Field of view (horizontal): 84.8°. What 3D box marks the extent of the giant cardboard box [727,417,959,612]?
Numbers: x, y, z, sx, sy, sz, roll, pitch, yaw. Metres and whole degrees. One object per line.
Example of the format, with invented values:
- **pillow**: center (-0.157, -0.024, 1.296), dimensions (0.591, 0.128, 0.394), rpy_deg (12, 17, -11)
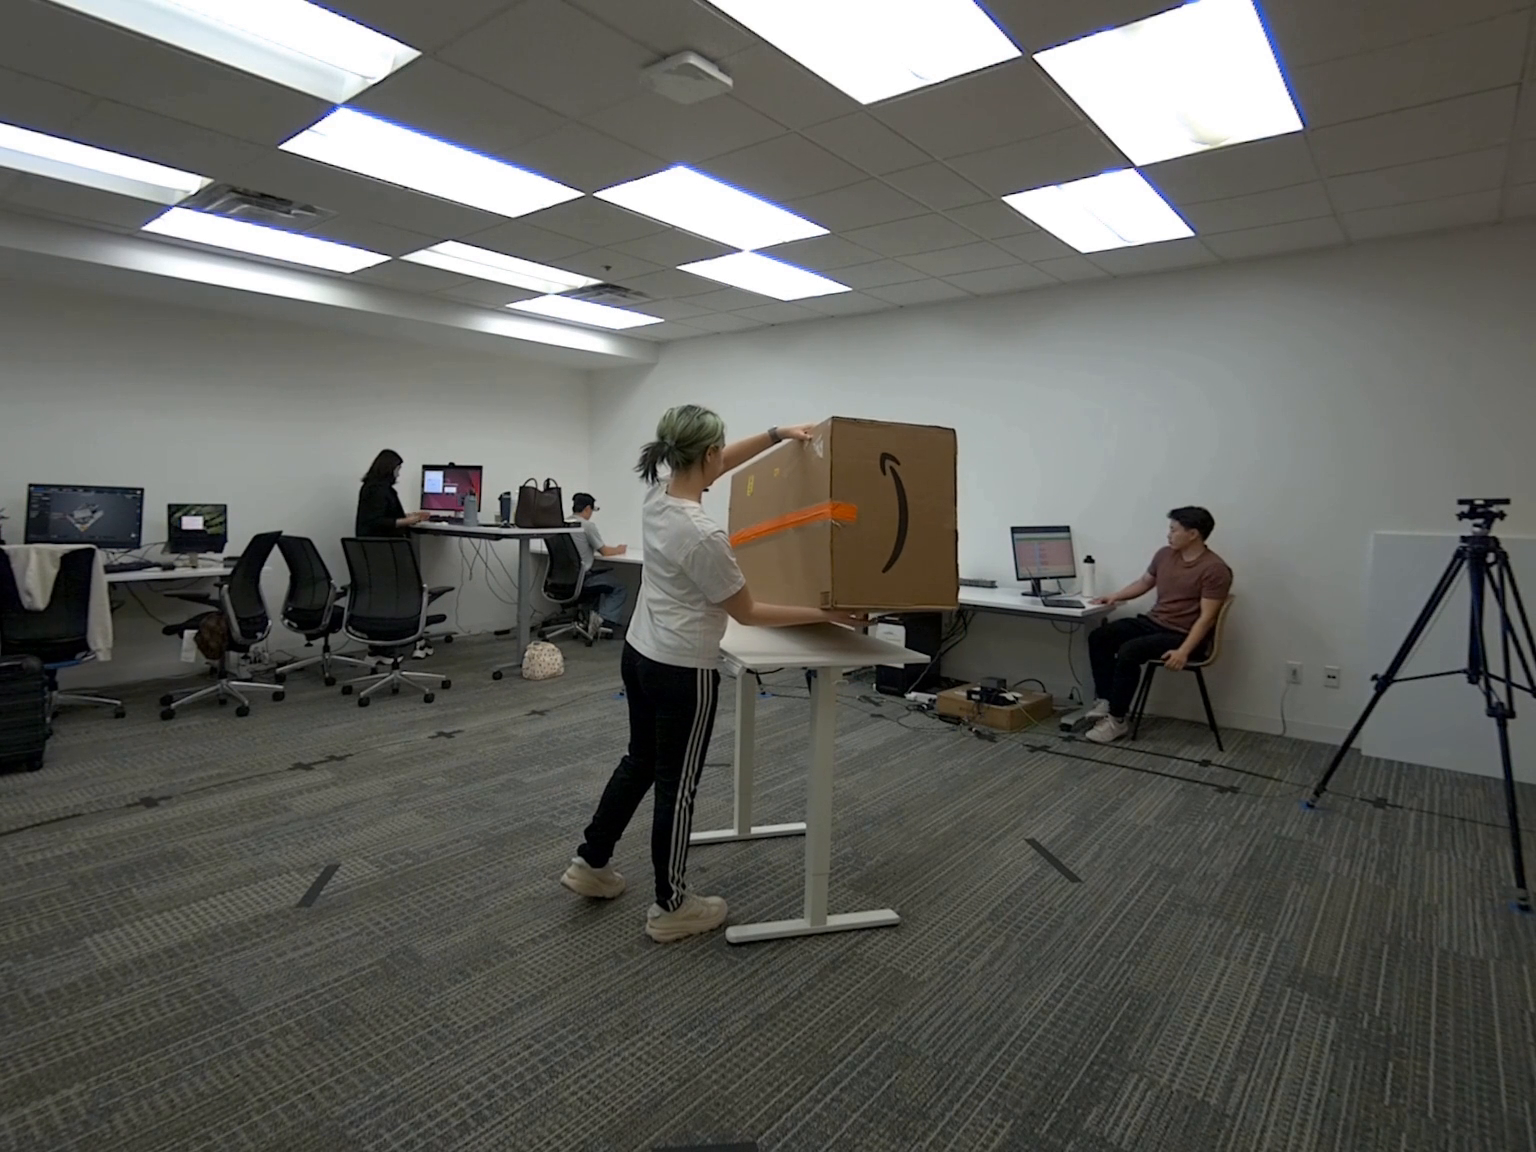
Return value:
- **giant cardboard box**: center (0.195, -0.153, 3.057), dimensions (0.439, 0.587, 1.040), rpy_deg (3, -5, -17)
